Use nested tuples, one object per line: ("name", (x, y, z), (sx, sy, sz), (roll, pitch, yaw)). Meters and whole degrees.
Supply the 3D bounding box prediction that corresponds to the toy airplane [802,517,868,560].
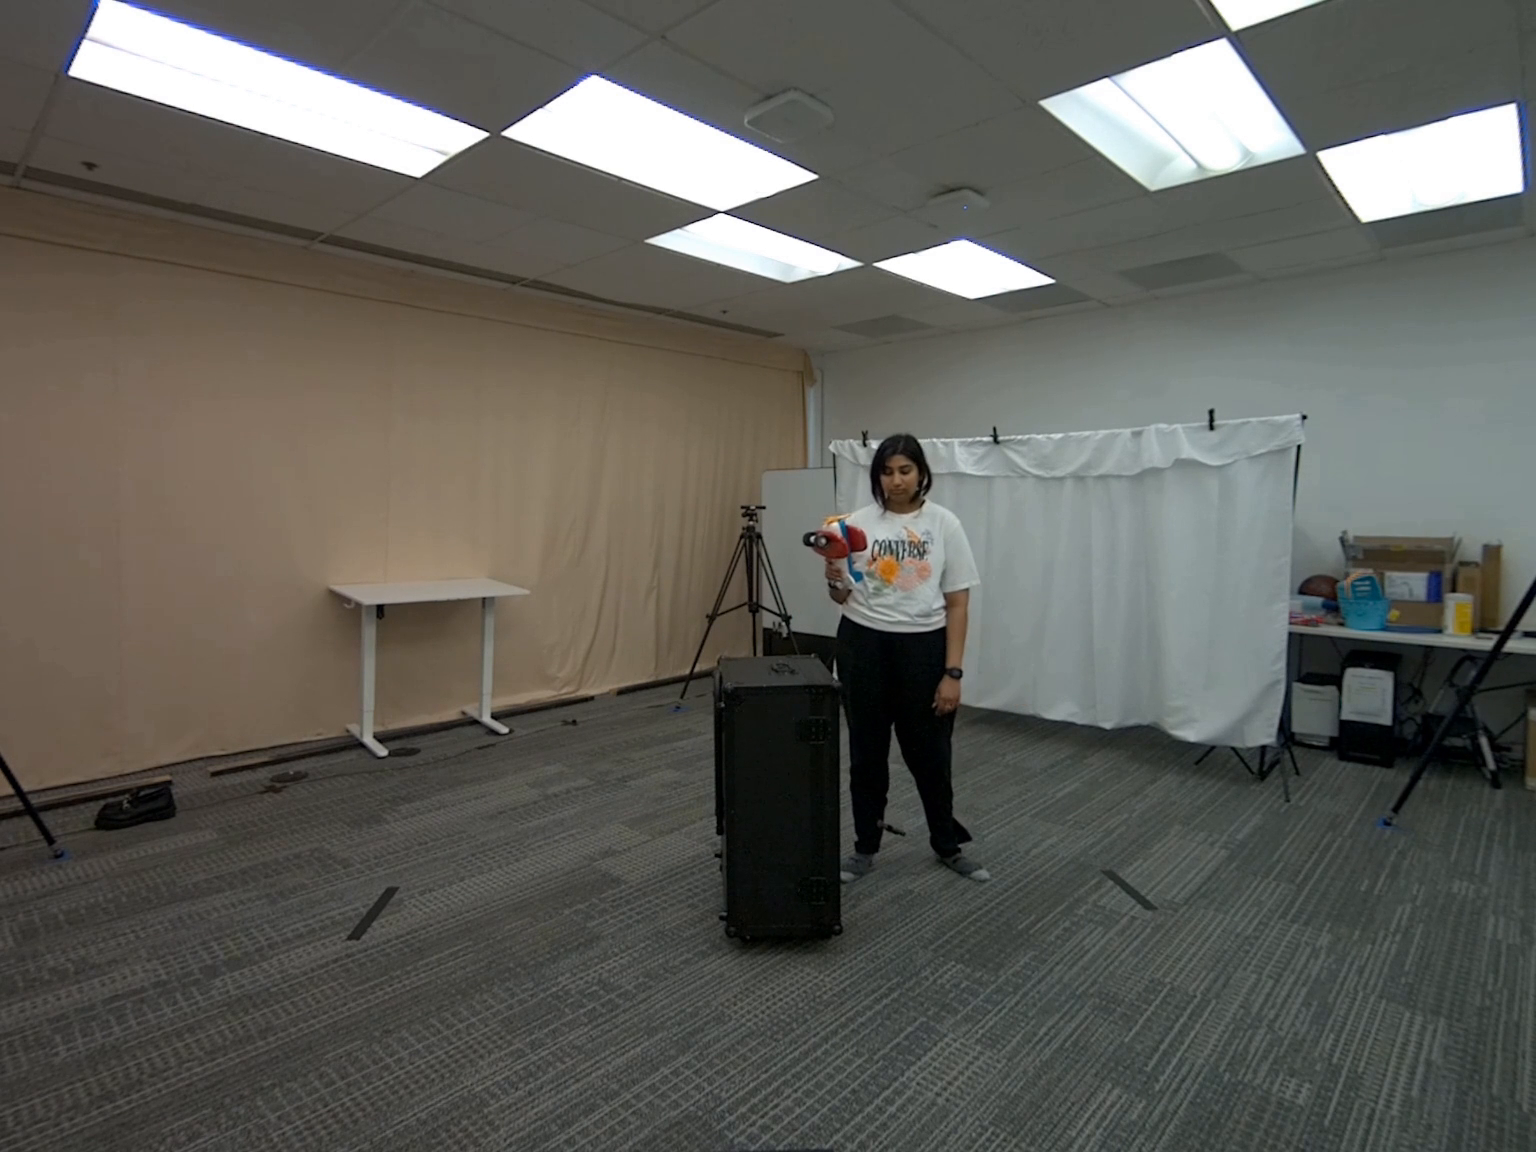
("toy airplane", (0.236, -0.083, 2.984), (0.155, 0.252, 0.260), (-32, 44, -17))
